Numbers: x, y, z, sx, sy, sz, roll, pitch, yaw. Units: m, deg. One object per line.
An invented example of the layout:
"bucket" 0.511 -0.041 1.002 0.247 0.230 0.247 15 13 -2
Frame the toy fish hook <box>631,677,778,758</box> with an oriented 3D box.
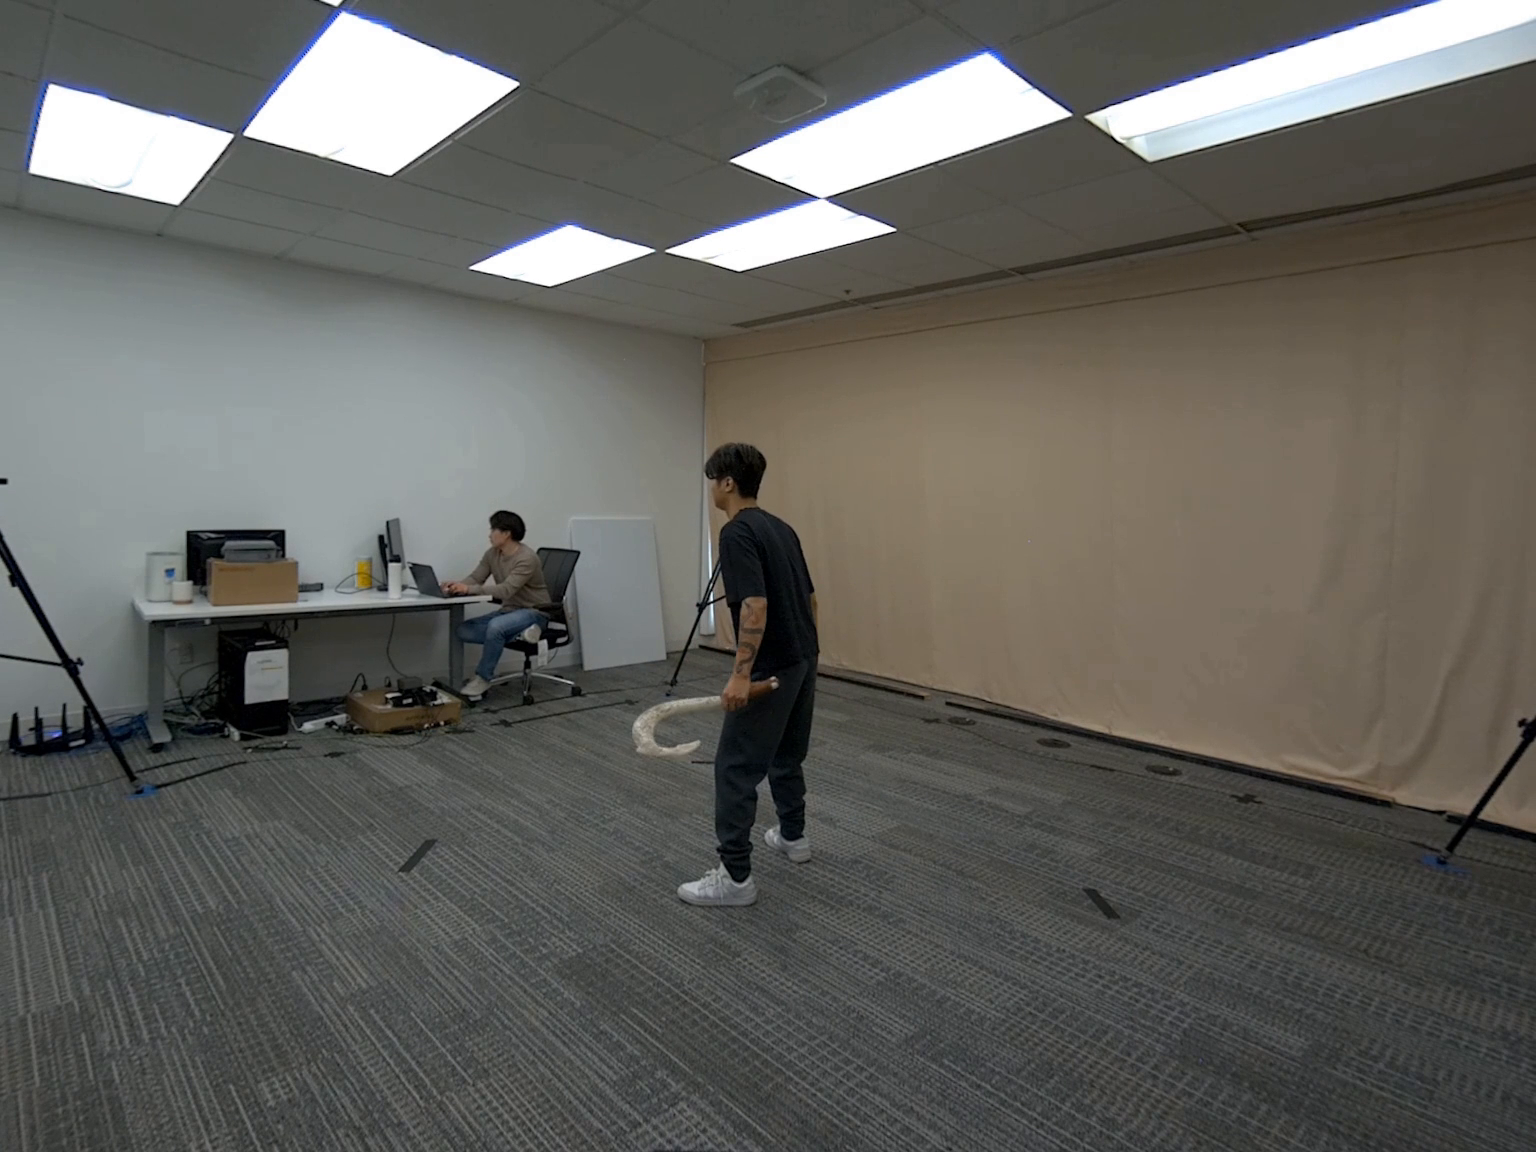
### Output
"toy fish hook" -0.205 0.447 2.715 0.505 0.047 0.231 -17 43 -7
